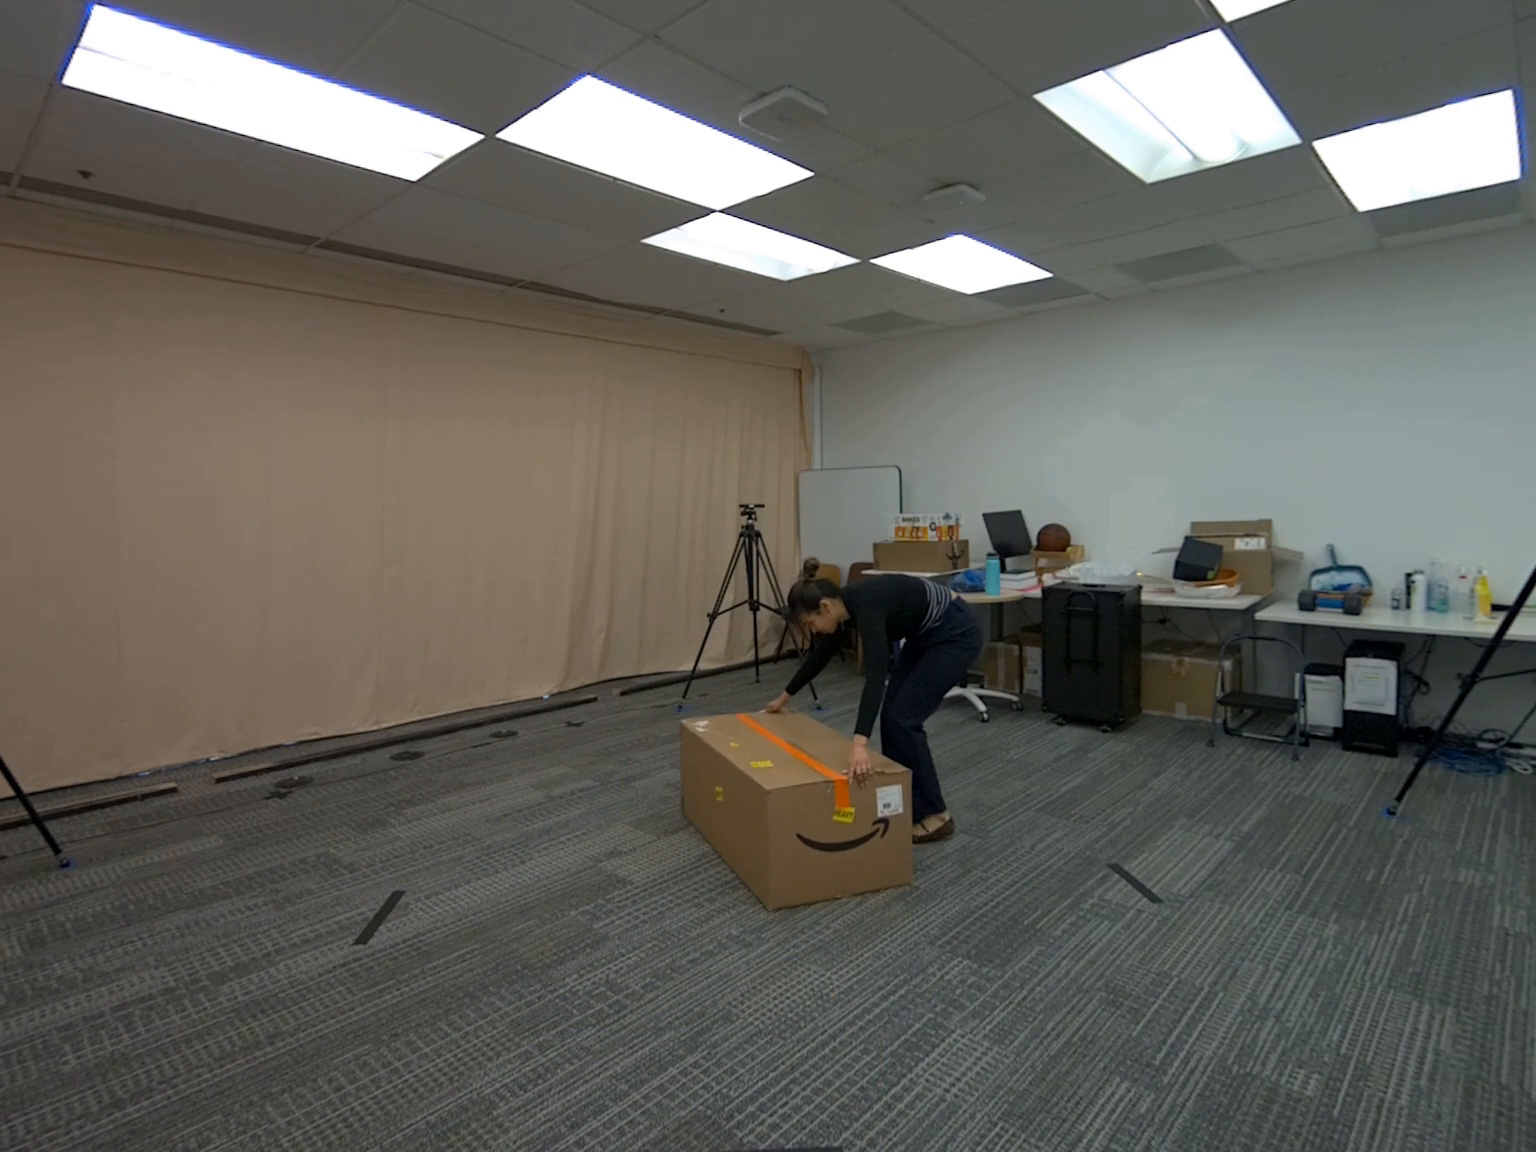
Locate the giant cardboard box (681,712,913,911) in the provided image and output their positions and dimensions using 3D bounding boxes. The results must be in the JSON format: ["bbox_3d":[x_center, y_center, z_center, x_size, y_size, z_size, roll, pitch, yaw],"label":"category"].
[{"bbox_3d":[0.065,0.884,3.431,0.565,0.425,1.050,-3,5,-22],"label":"giant cardboard box"}]
